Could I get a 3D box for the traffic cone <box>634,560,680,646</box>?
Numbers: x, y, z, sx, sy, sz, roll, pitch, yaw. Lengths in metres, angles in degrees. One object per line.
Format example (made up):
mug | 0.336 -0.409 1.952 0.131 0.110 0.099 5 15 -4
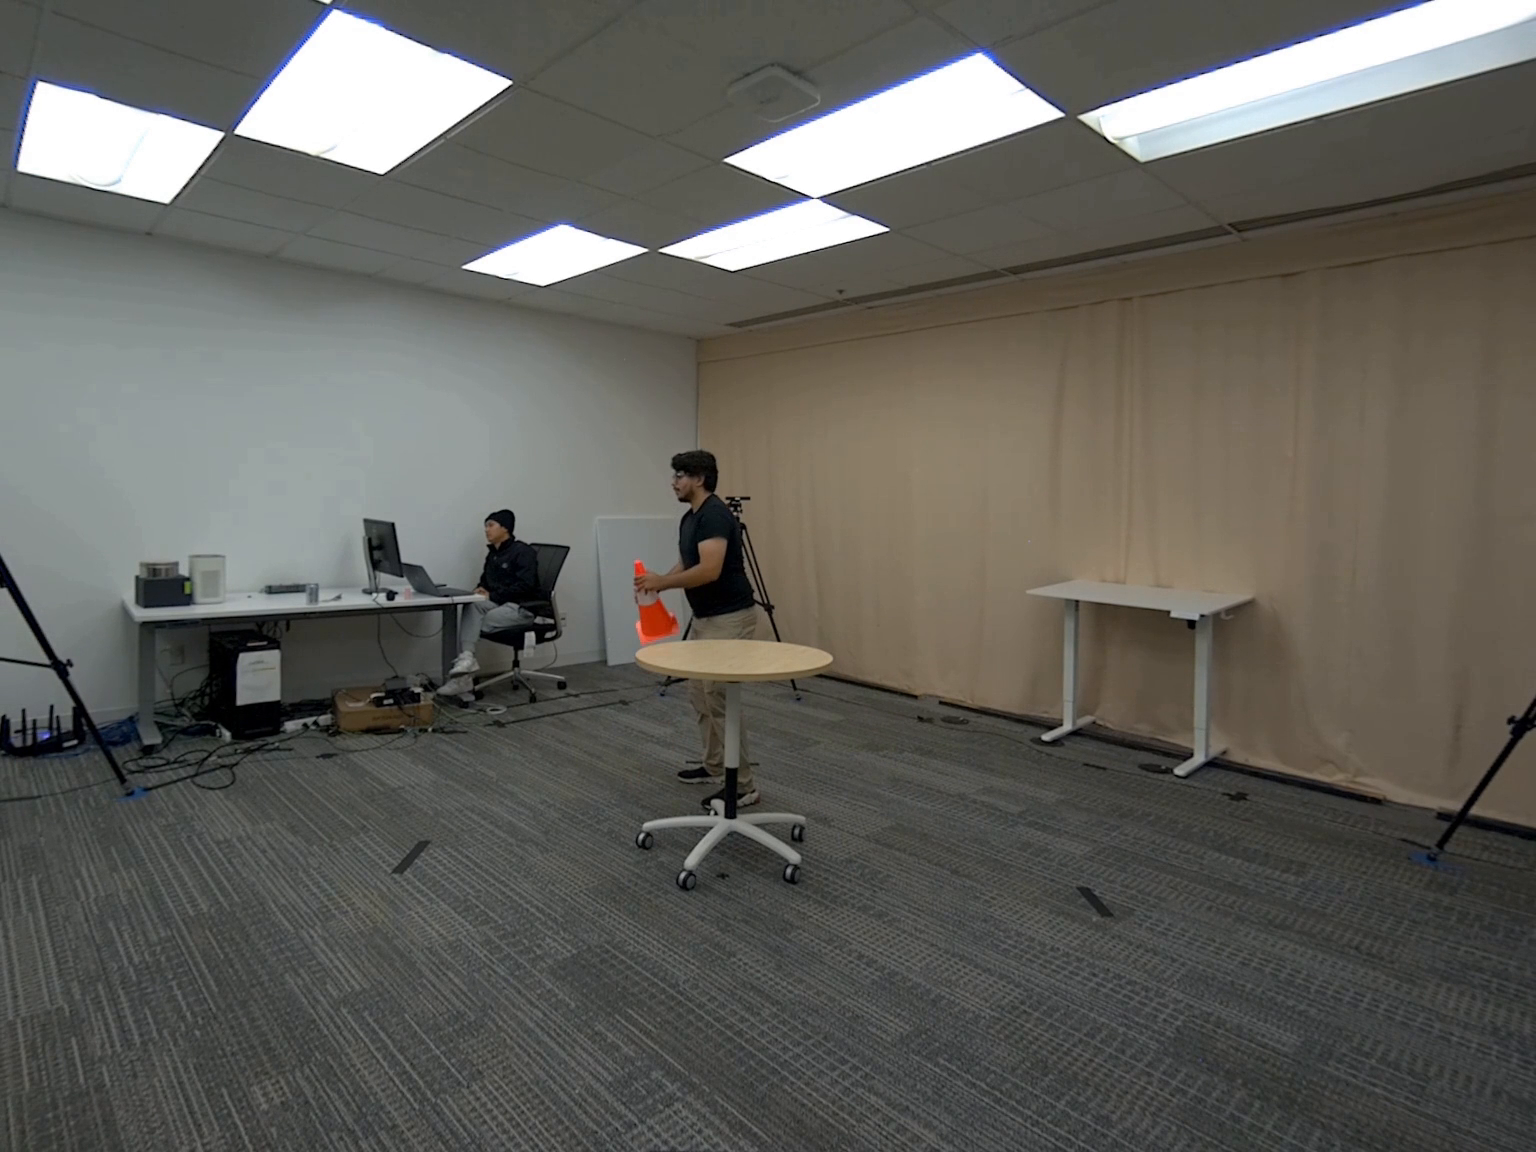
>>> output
traffic cone | -0.584 0.104 3.989 0.204 0.375 0.209 -17 29 -6
